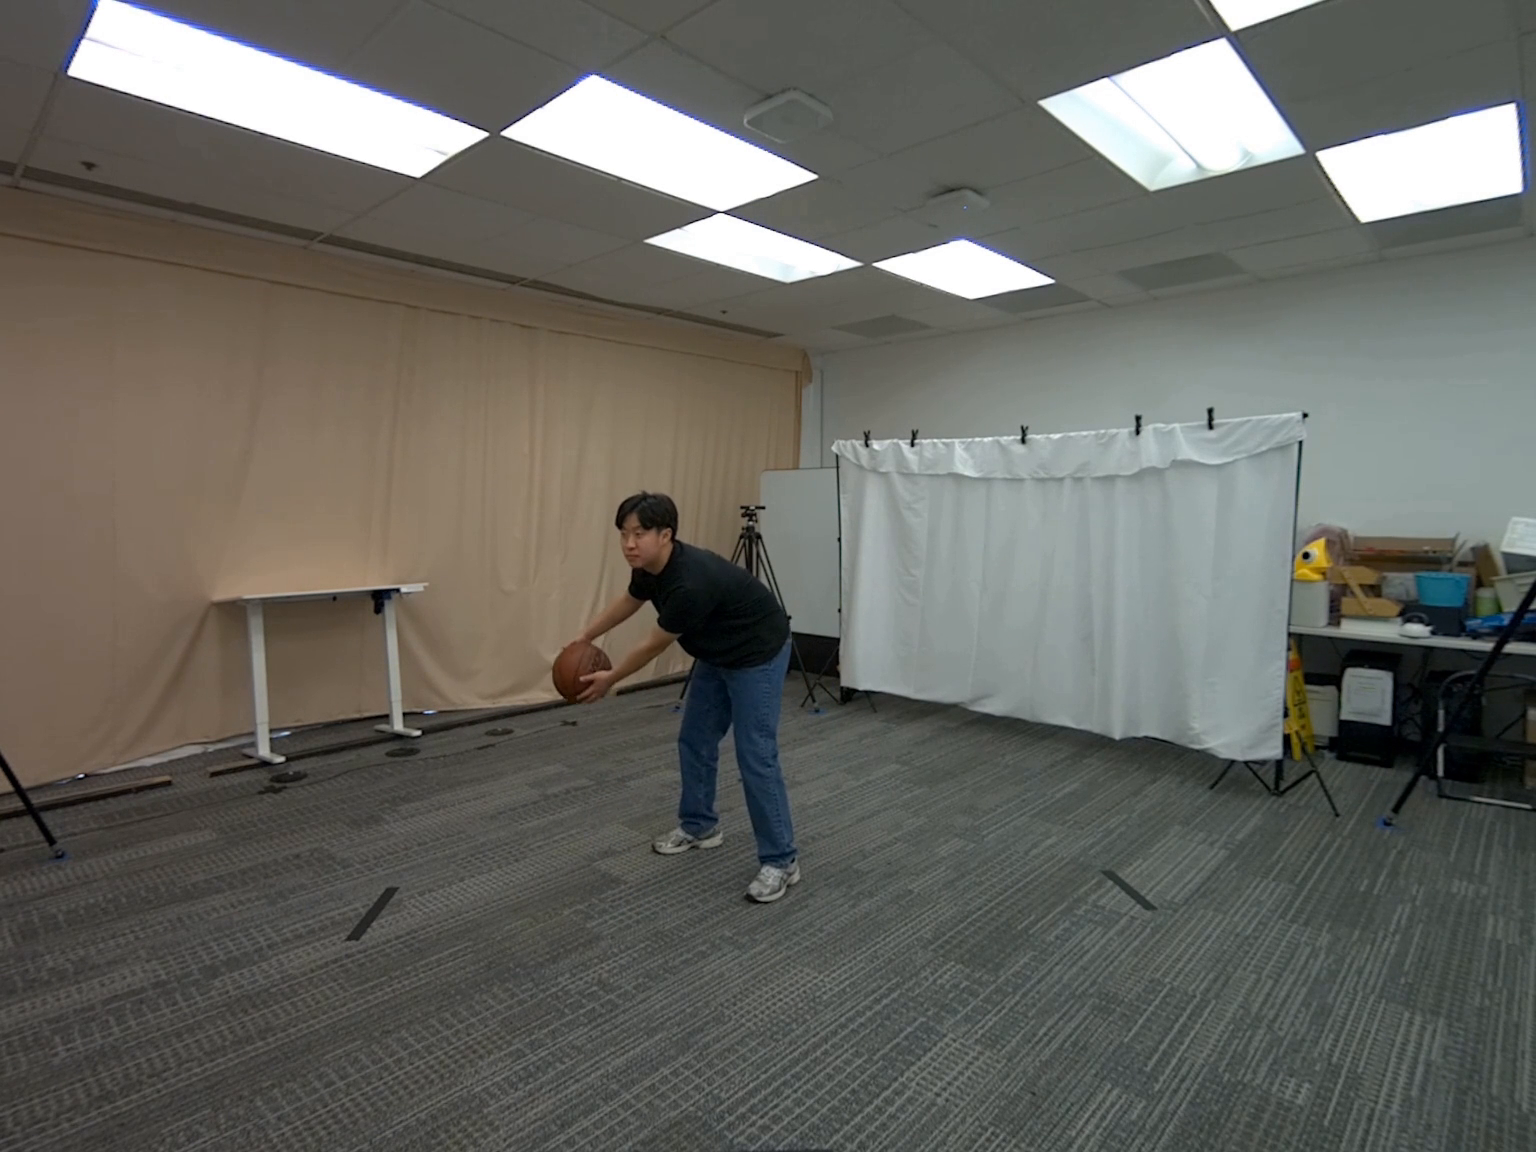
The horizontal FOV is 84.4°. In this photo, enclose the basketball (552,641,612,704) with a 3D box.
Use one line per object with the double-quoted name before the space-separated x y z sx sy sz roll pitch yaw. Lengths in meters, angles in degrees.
"basketball" -0.724 0.391 3.349 0.236 0.235 0.237 0 4 -2
